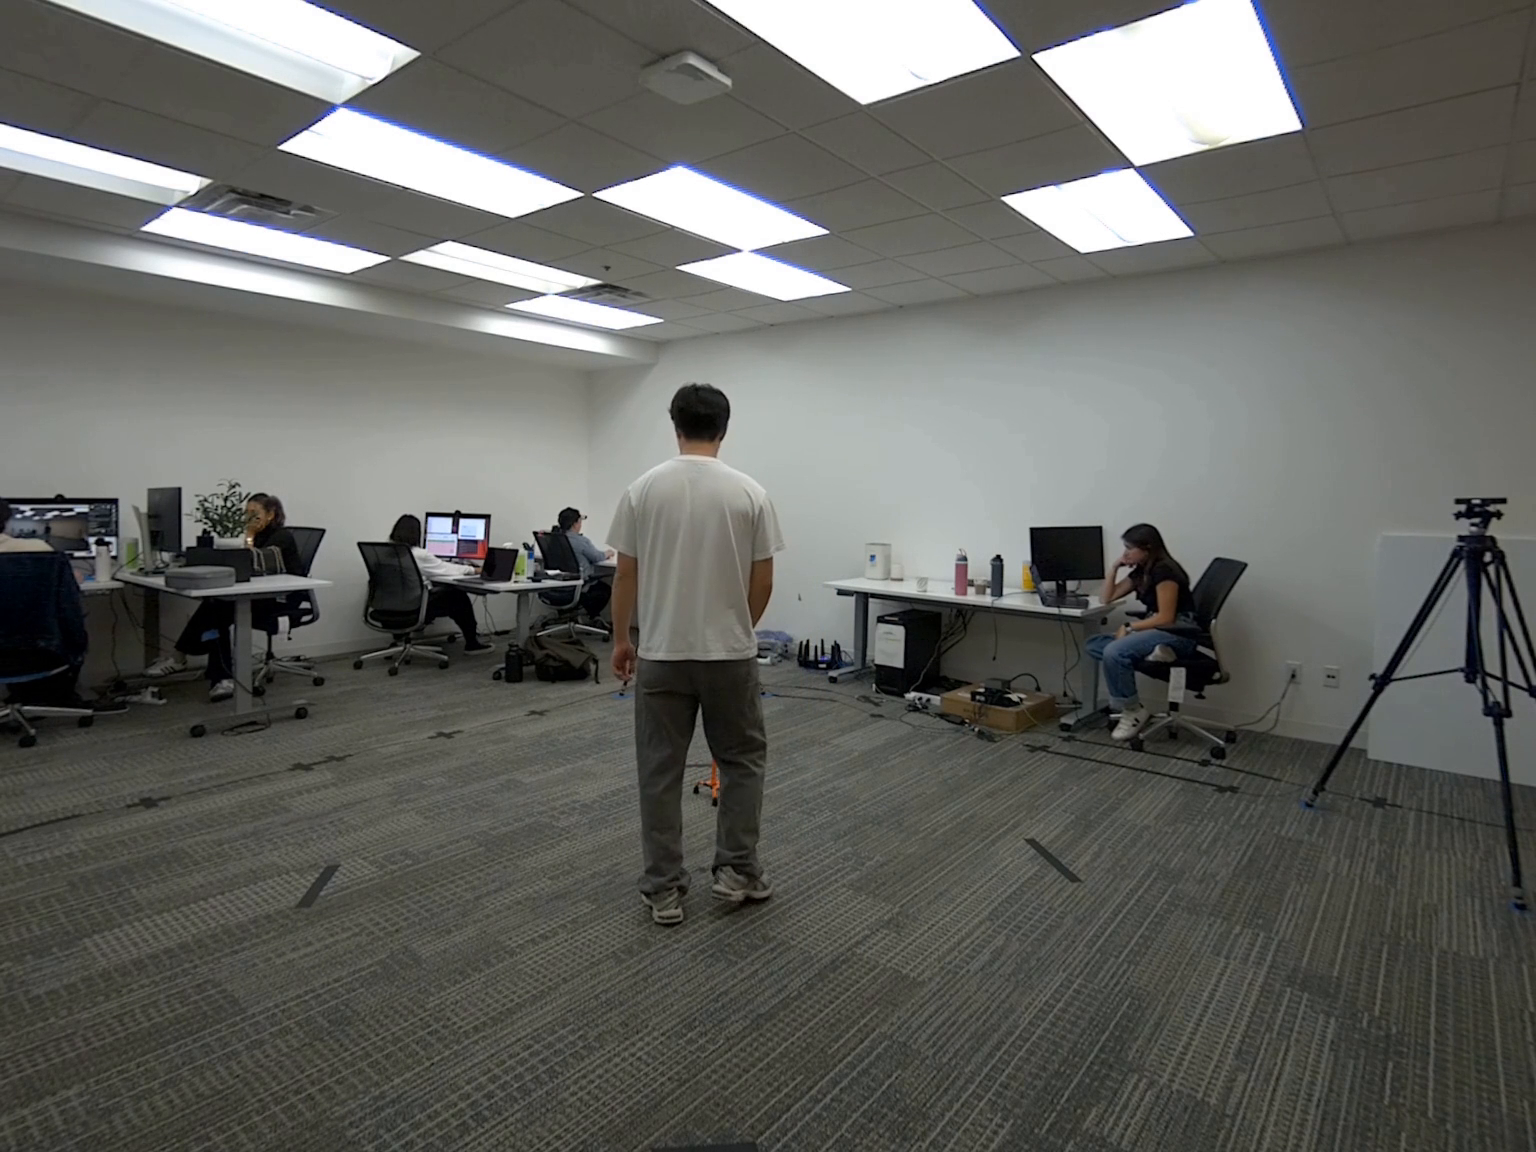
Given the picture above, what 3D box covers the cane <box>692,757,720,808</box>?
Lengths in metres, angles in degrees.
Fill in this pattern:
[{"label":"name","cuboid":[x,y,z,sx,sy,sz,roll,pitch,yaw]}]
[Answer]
[{"label":"cane","cuboid":[-0.213,0.534,3.836,0.147,0.906,0.213,-1,3,-33]}]
